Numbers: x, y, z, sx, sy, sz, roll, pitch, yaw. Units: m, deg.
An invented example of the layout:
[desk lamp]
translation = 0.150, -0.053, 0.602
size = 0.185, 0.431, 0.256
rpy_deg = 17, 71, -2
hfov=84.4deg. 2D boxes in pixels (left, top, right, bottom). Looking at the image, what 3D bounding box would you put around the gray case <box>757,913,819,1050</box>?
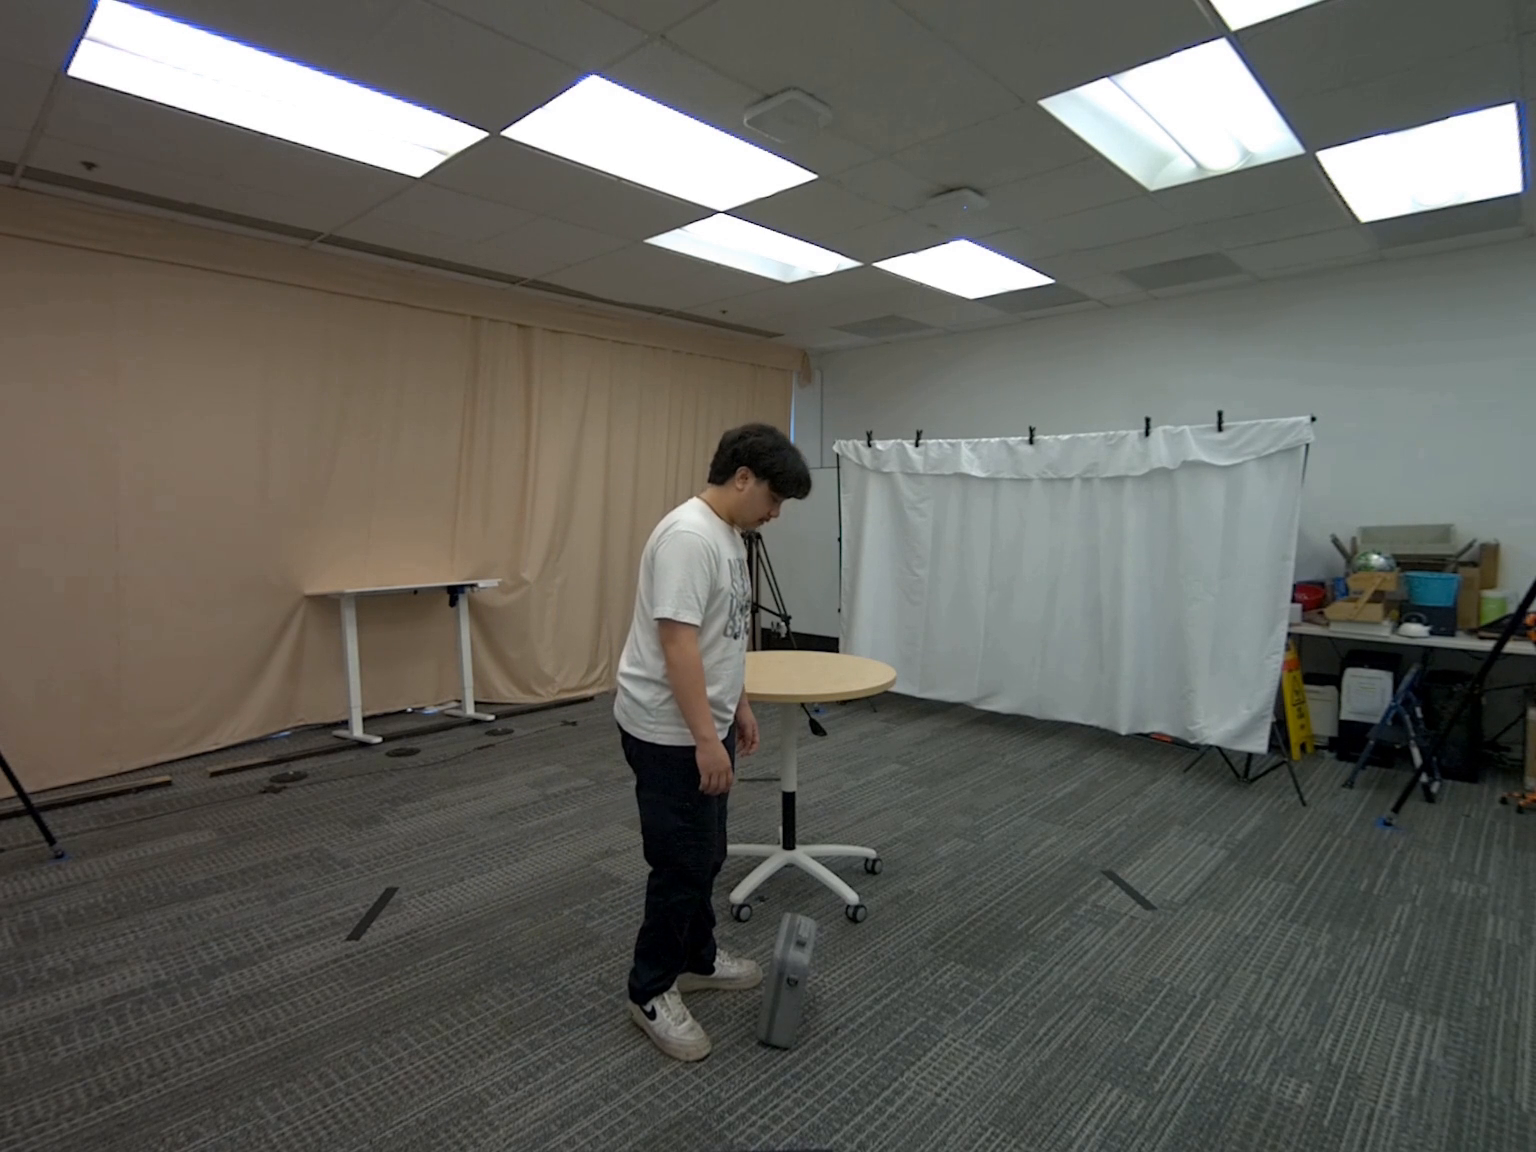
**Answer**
[gray case]
translation = 0.061, 1.083, 2.240
size = 0.105, 0.260, 0.254
rpy_deg = 12, 4, 8
